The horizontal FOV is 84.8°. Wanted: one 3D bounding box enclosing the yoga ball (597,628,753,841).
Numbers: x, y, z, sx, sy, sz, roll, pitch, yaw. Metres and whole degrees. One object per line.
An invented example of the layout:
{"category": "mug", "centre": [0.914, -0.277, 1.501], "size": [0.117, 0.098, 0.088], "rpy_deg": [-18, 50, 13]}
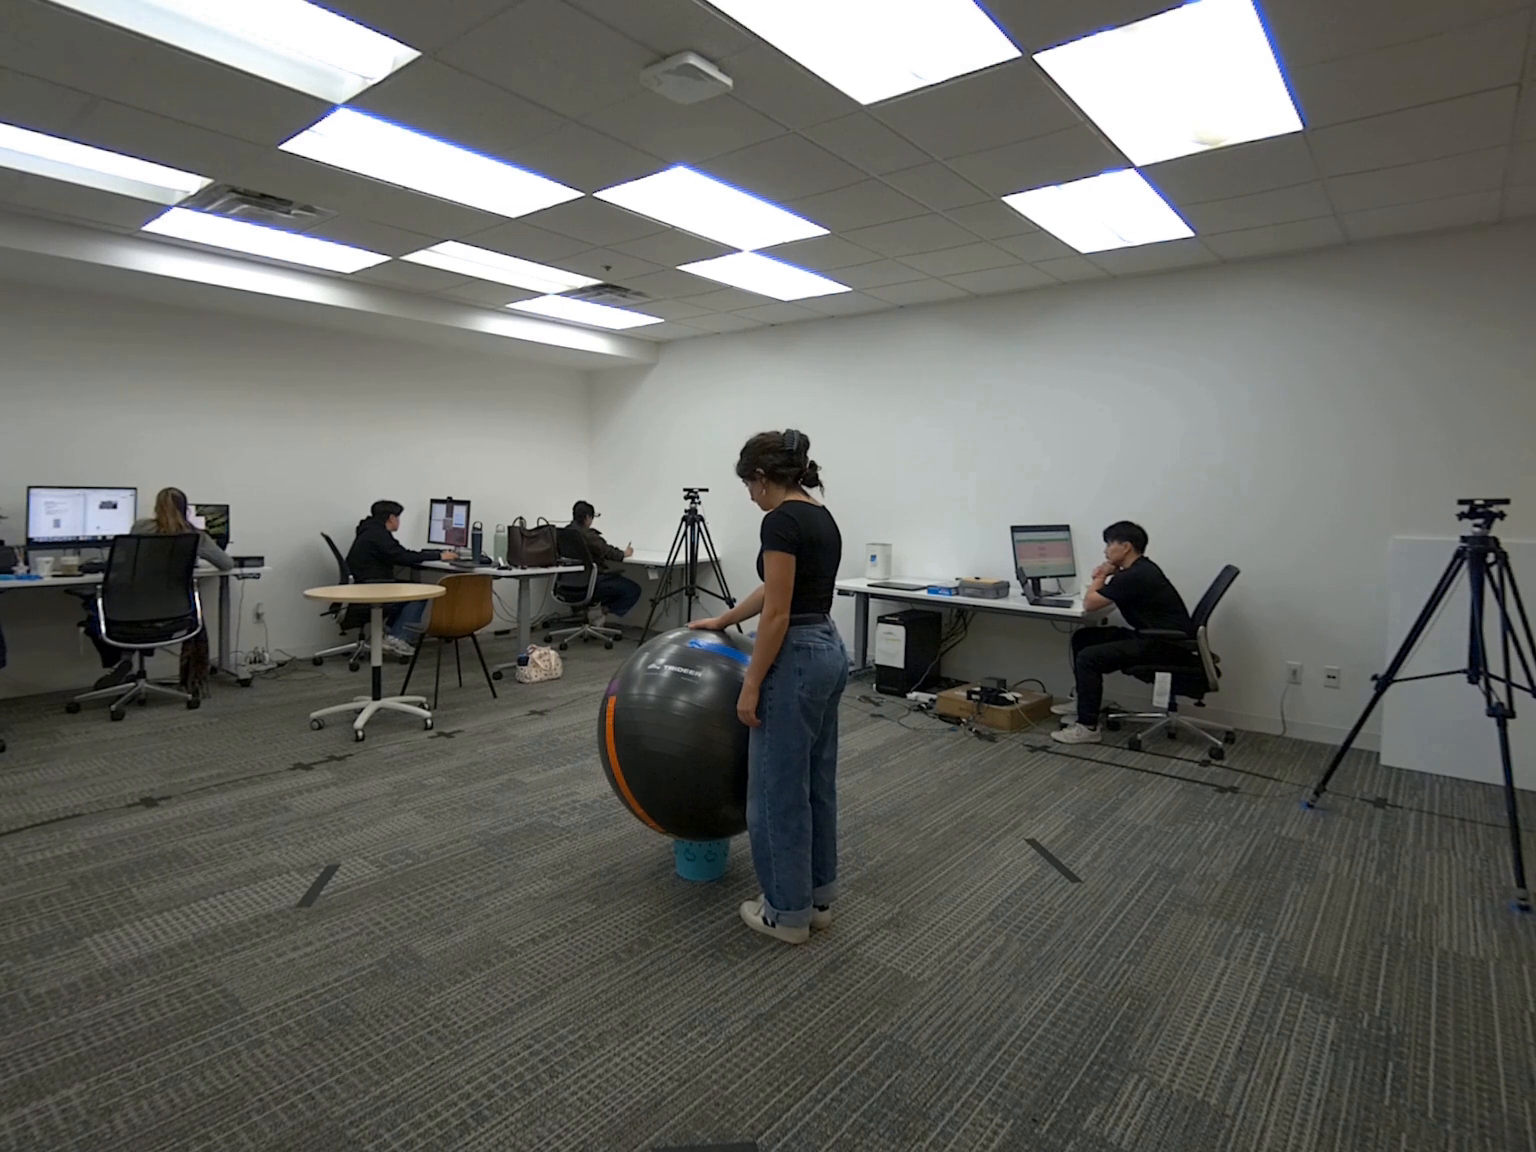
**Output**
{"category": "yoga ball", "centre": [-0.247, 0.559, 3.091], "size": [0.757, 0.756, 0.762], "rpy_deg": [1, 4, -2]}
